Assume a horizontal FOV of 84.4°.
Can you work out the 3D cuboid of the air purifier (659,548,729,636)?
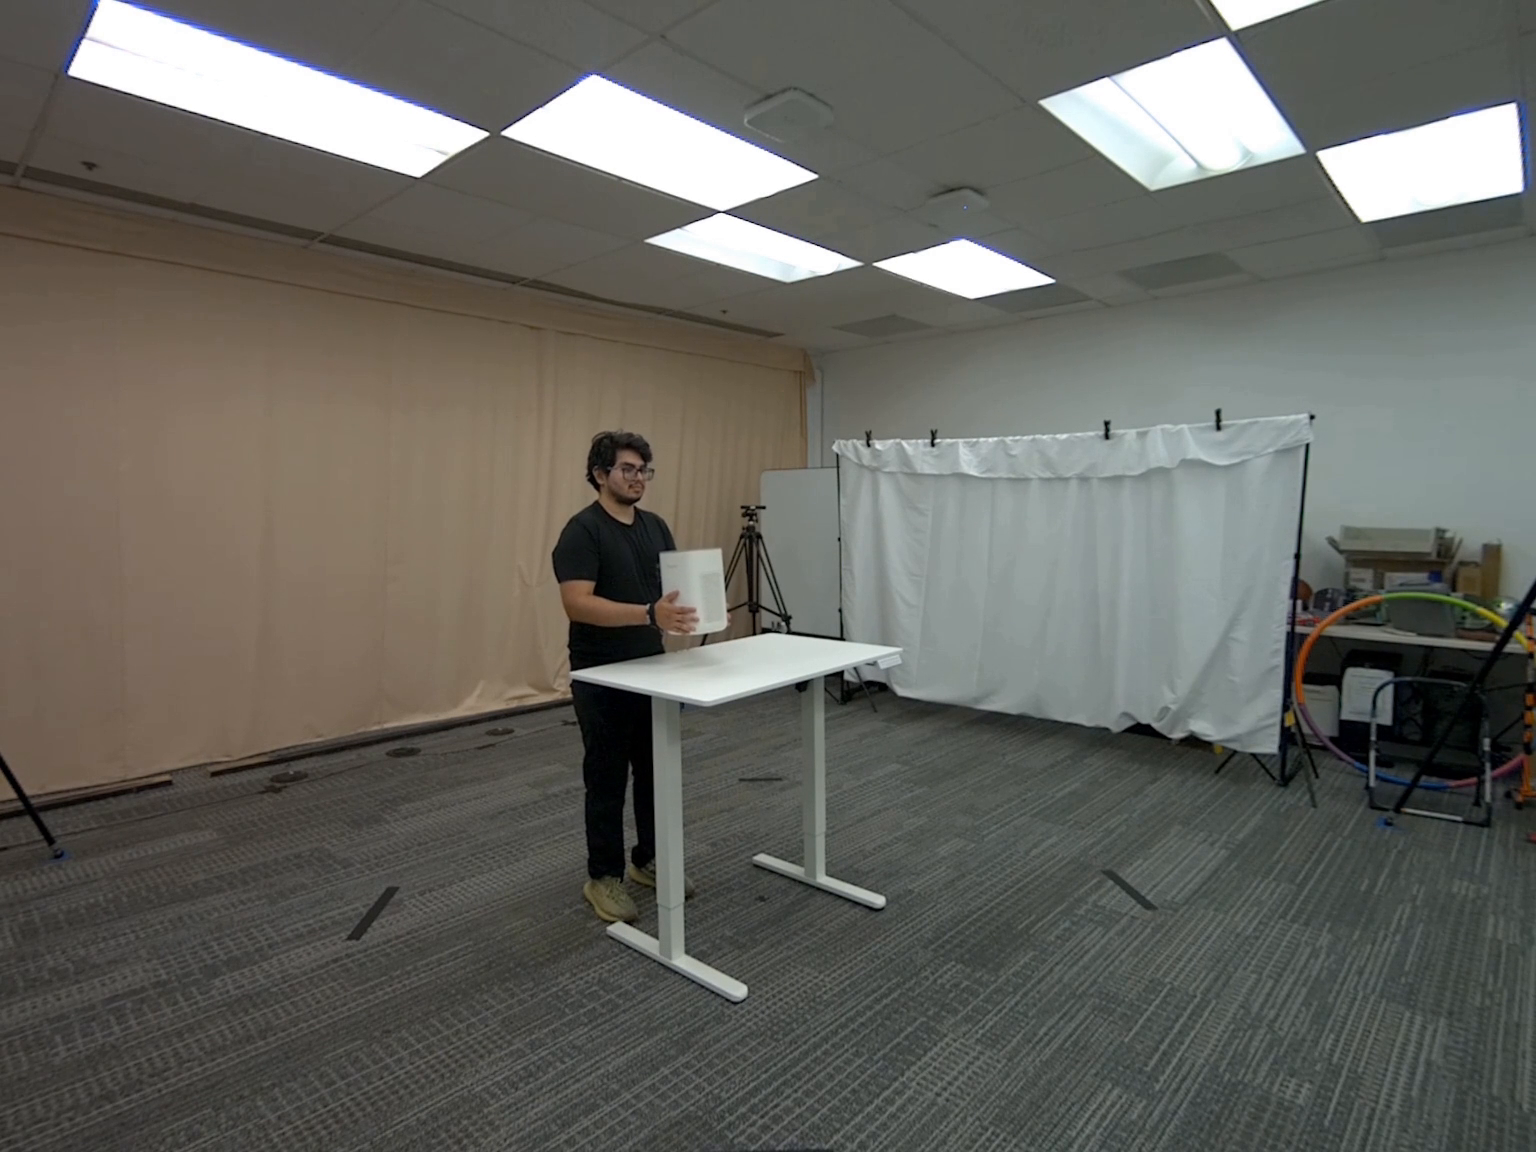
[{"bbox_3d":[-0.236,0.046,2.679,0.176,0.265,0.166,-4,0,41],"label":"air purifier"}]
